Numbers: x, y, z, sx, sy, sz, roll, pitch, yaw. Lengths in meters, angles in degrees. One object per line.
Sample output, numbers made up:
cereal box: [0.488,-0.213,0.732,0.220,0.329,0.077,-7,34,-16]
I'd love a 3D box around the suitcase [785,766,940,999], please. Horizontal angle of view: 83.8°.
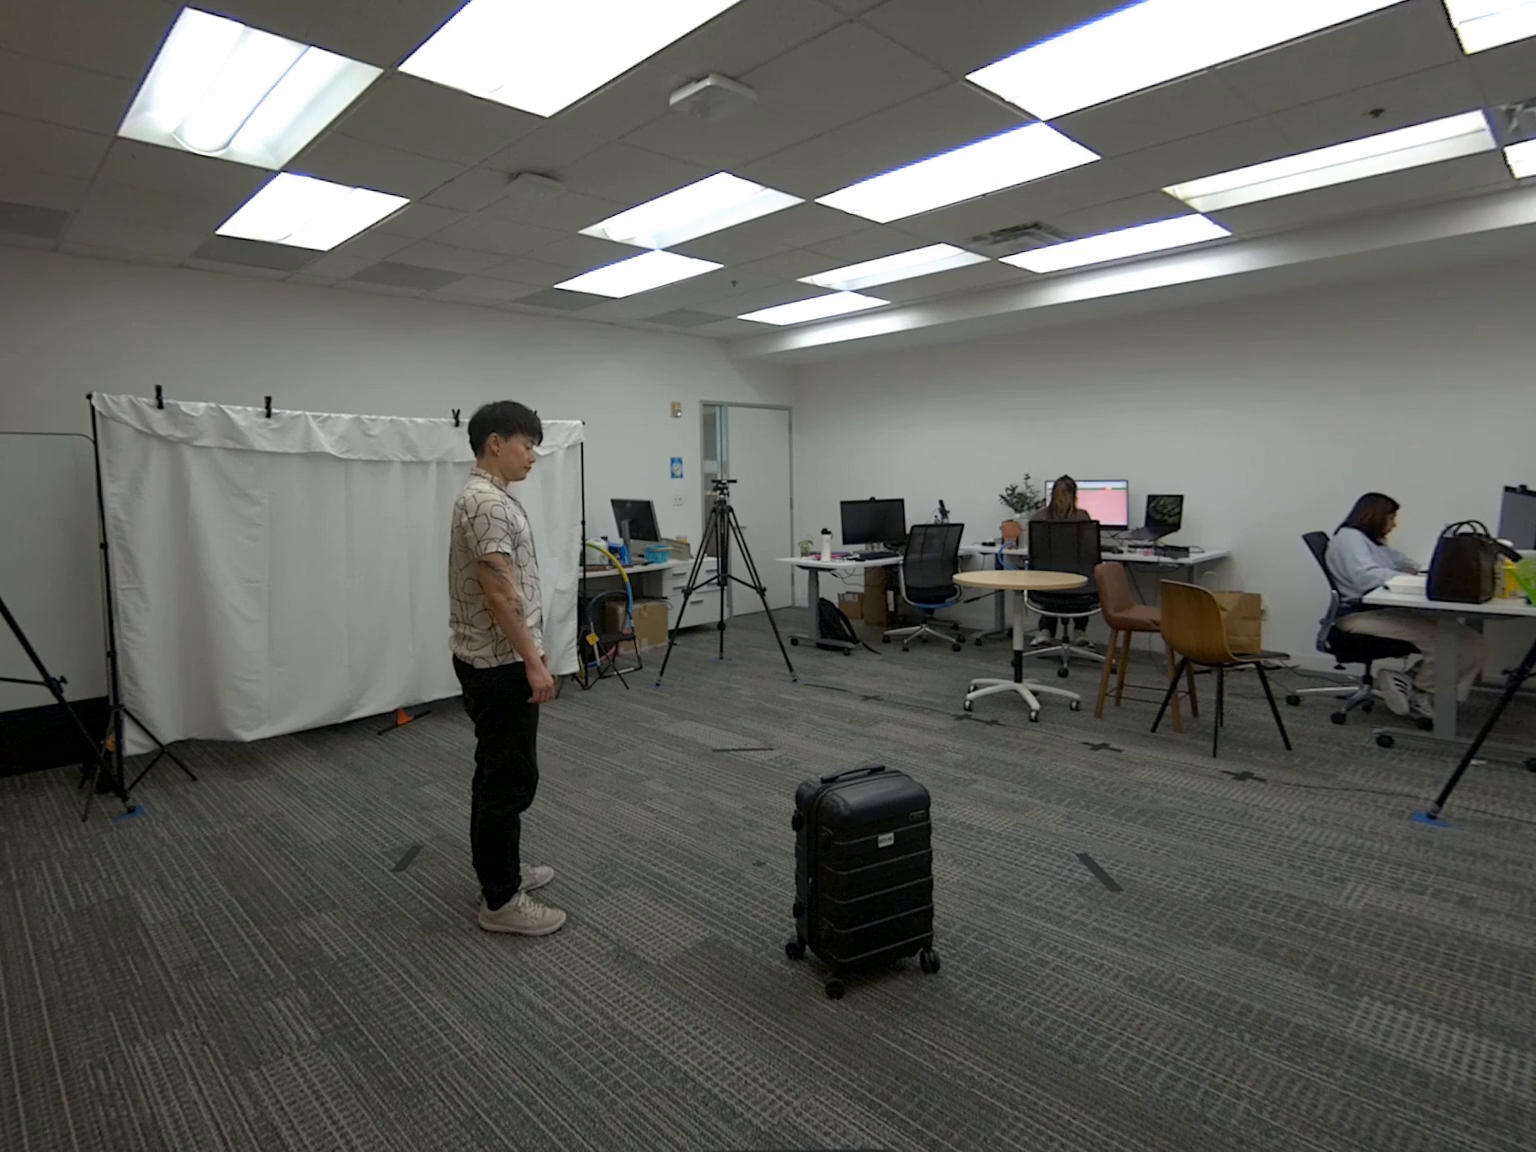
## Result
suitcase: [0.276,0.837,2.451,0.367,0.547,0.255,-3,5,-26]
